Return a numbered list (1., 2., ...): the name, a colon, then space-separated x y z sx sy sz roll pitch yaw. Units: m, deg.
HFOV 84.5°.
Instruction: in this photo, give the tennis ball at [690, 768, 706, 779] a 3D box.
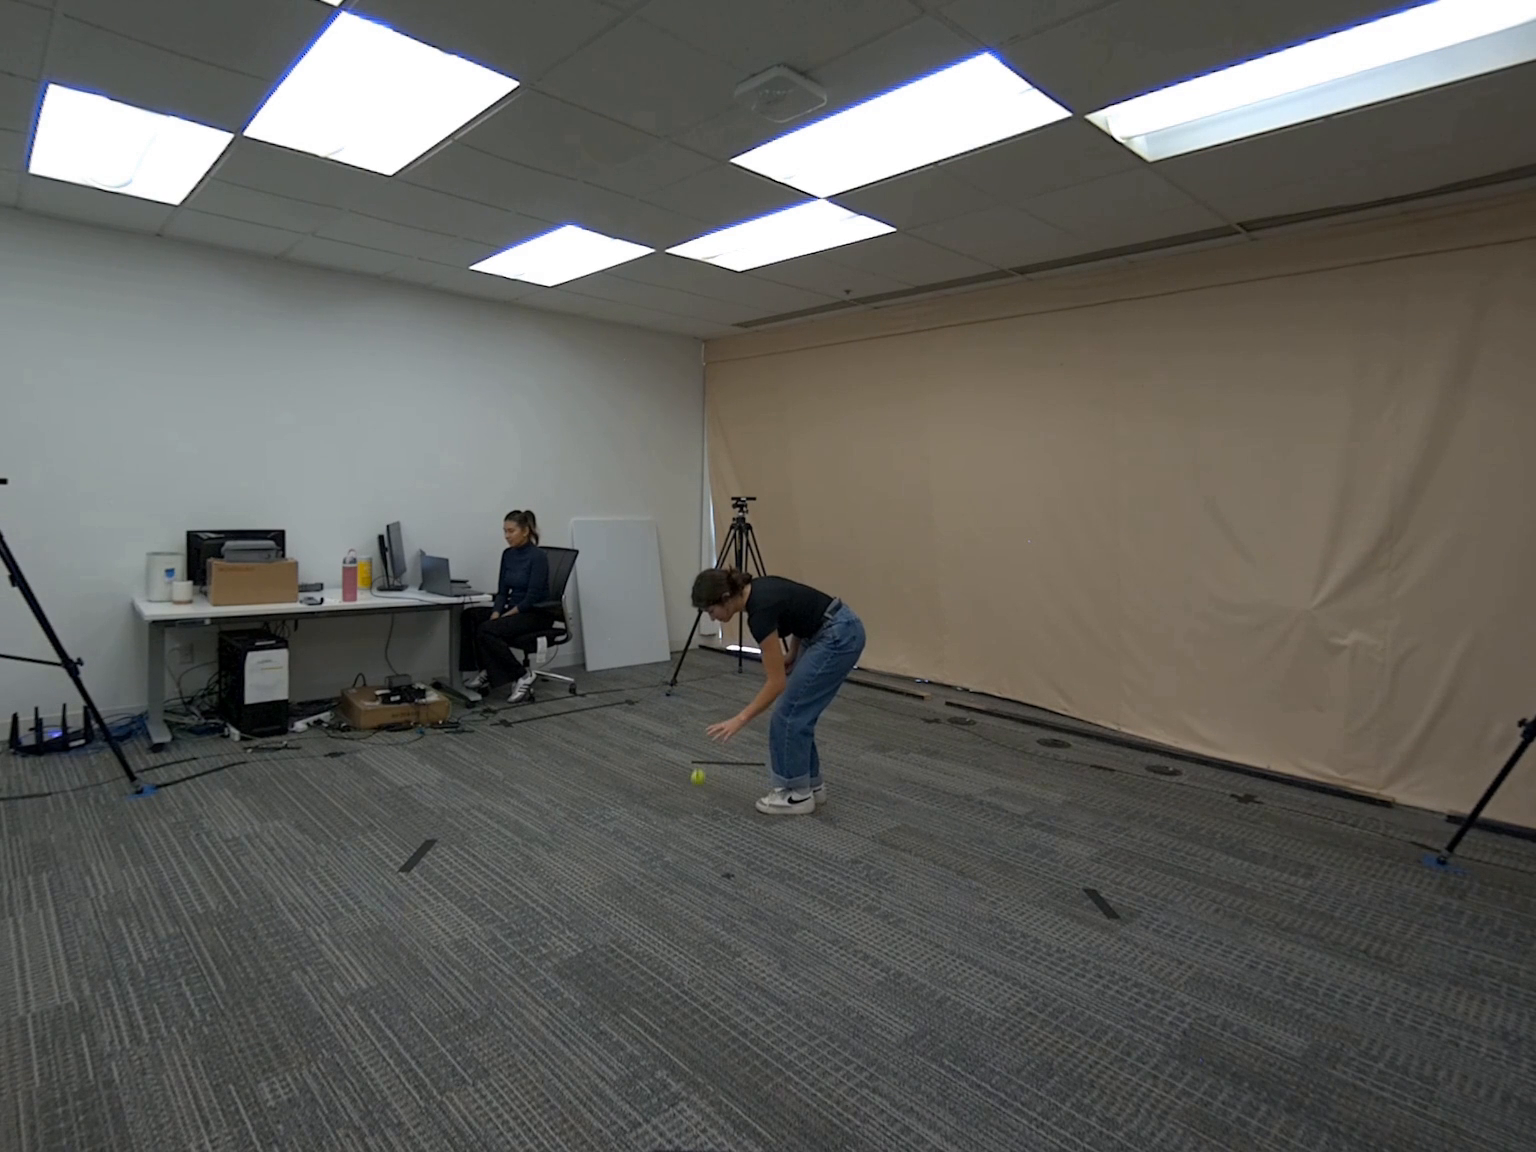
1. tennis ball: -0.313 0.796 3.651 0.066 0.066 0.067 1 4 -1
